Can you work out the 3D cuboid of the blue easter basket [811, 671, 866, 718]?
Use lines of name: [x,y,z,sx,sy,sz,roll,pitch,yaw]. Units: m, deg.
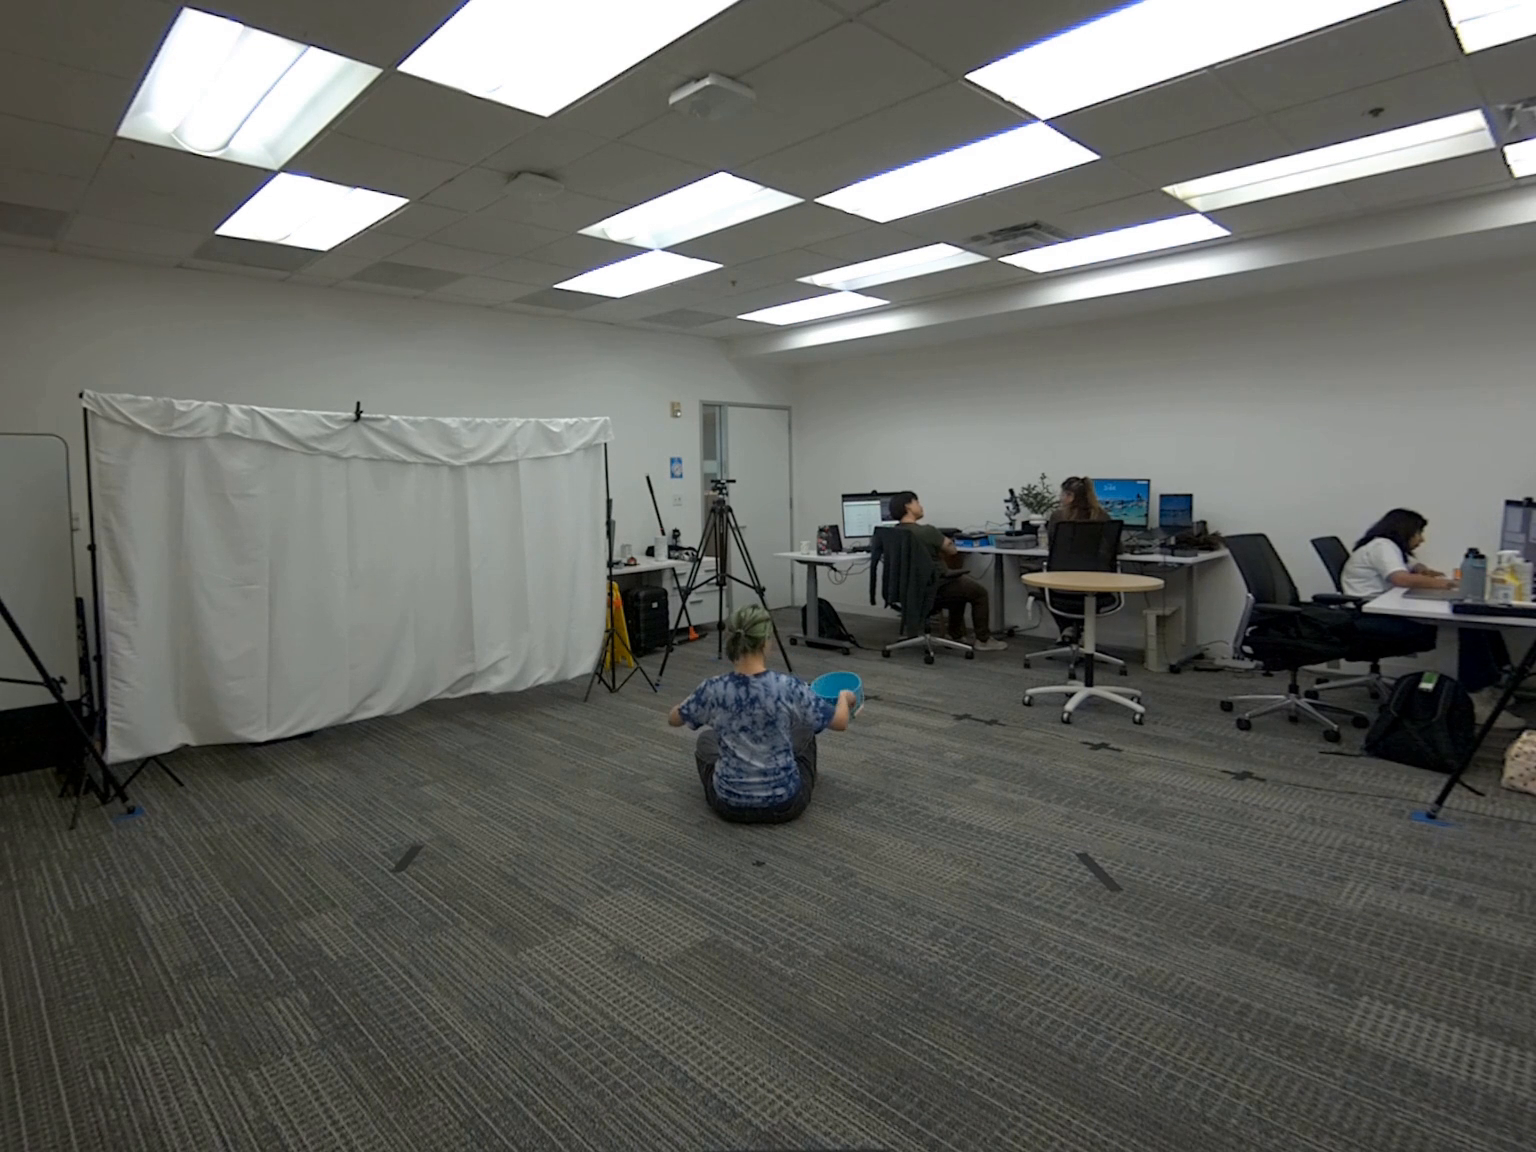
blue easter basket: [0.321,0.577,3.940,0.244,0.153,0.248,-11,20,2]
